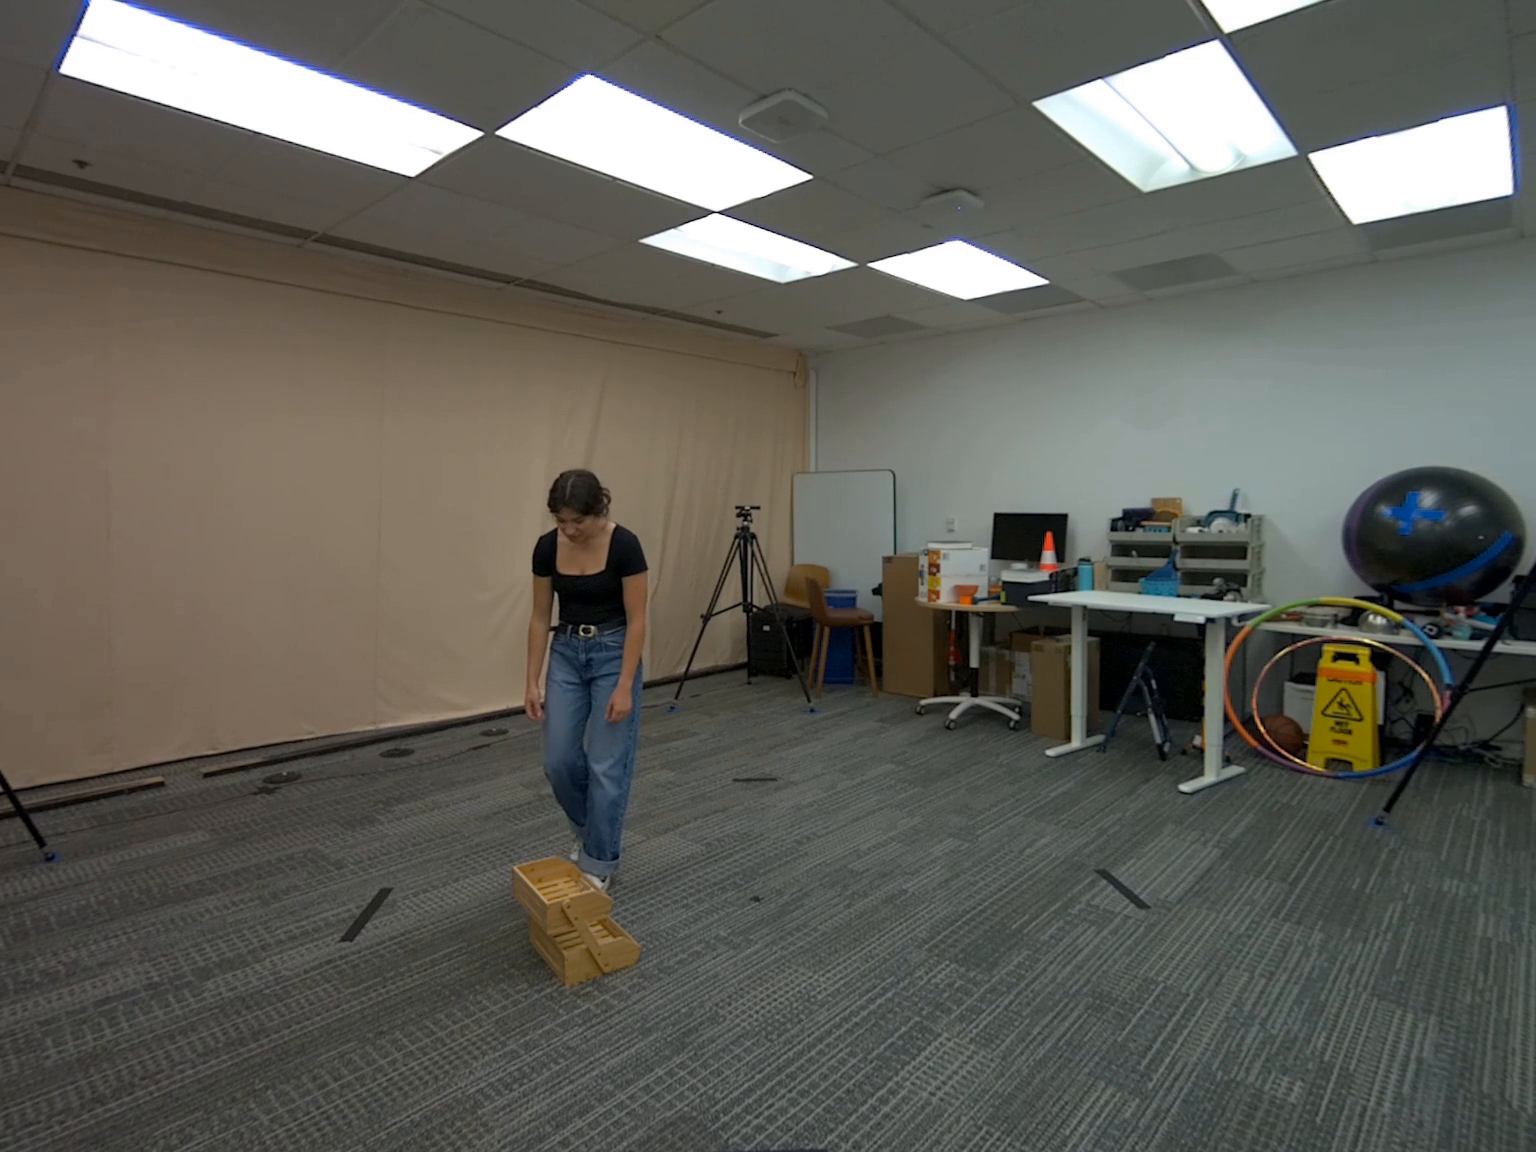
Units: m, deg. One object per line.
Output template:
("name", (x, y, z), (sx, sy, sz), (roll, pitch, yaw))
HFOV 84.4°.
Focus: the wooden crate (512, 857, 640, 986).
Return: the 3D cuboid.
("wooden crate", (-0.597, 1.044, 2.616), (0.293, 0.273, 0.334), (-4, 5, -35))
